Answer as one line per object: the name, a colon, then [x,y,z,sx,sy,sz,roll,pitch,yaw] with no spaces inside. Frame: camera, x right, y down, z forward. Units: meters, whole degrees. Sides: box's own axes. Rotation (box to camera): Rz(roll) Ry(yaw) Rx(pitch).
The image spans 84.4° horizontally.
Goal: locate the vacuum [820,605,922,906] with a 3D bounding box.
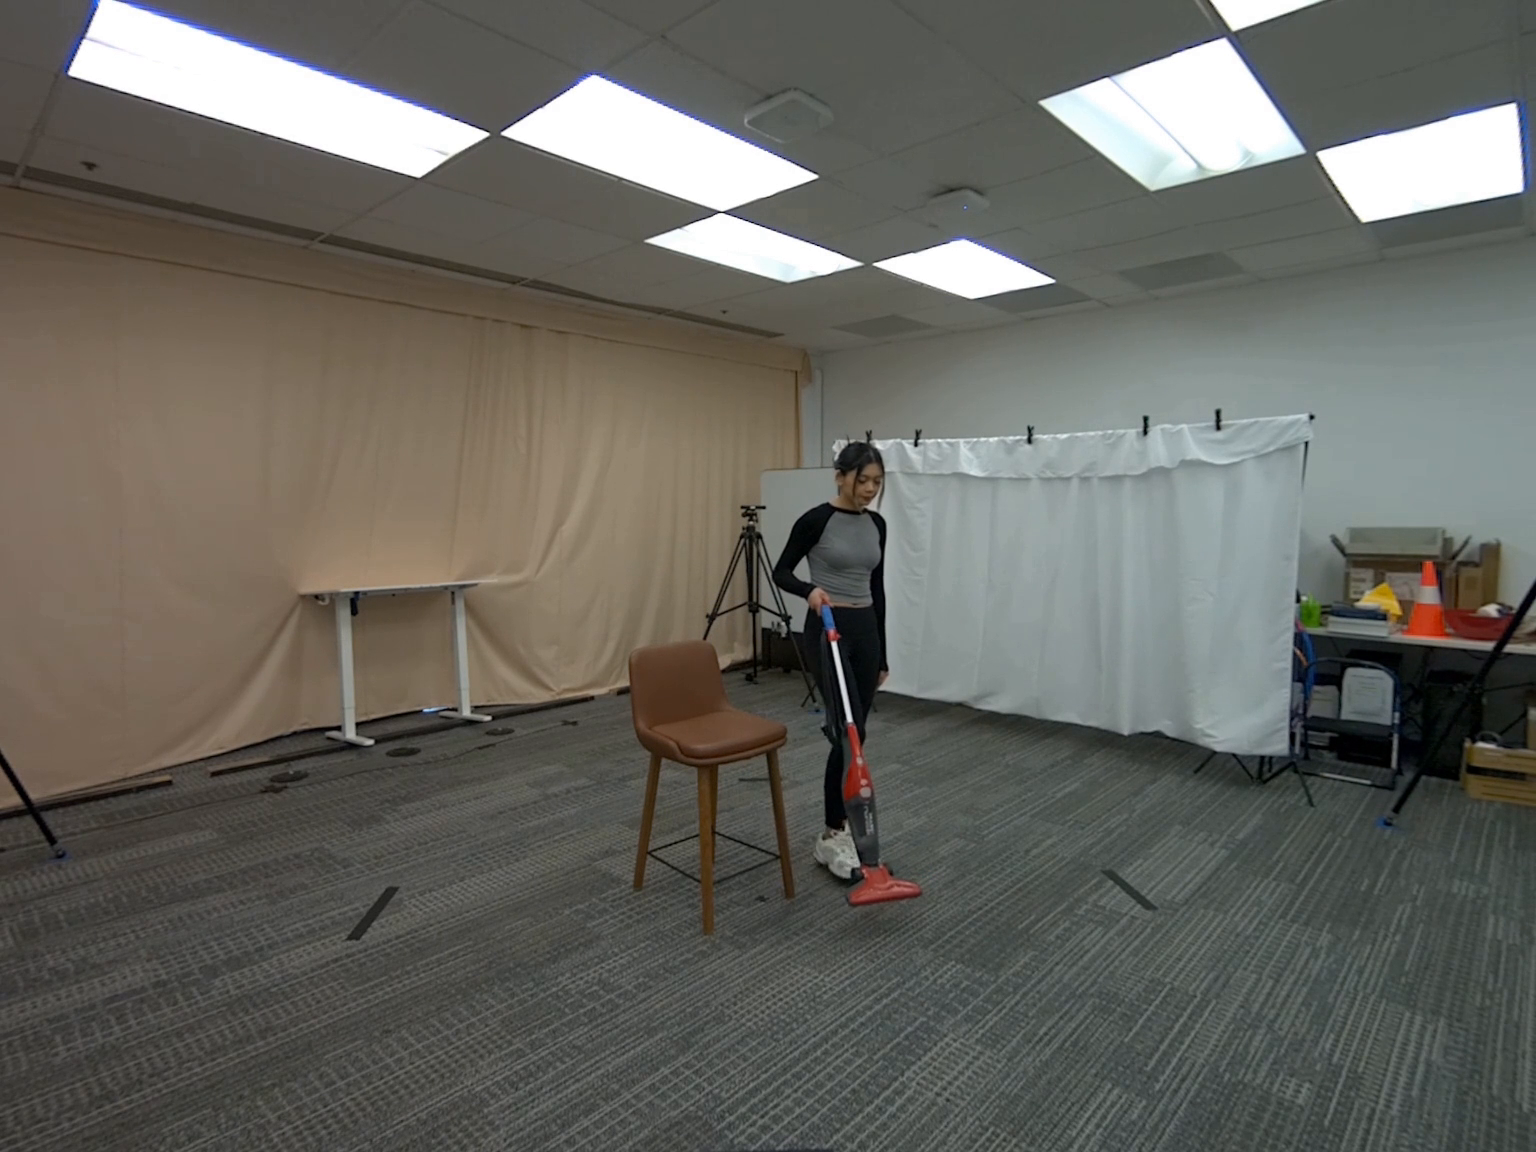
vacuum: [0.282,0.537,2.941,0.248,1.068,0.144,-3,-25,-20]
